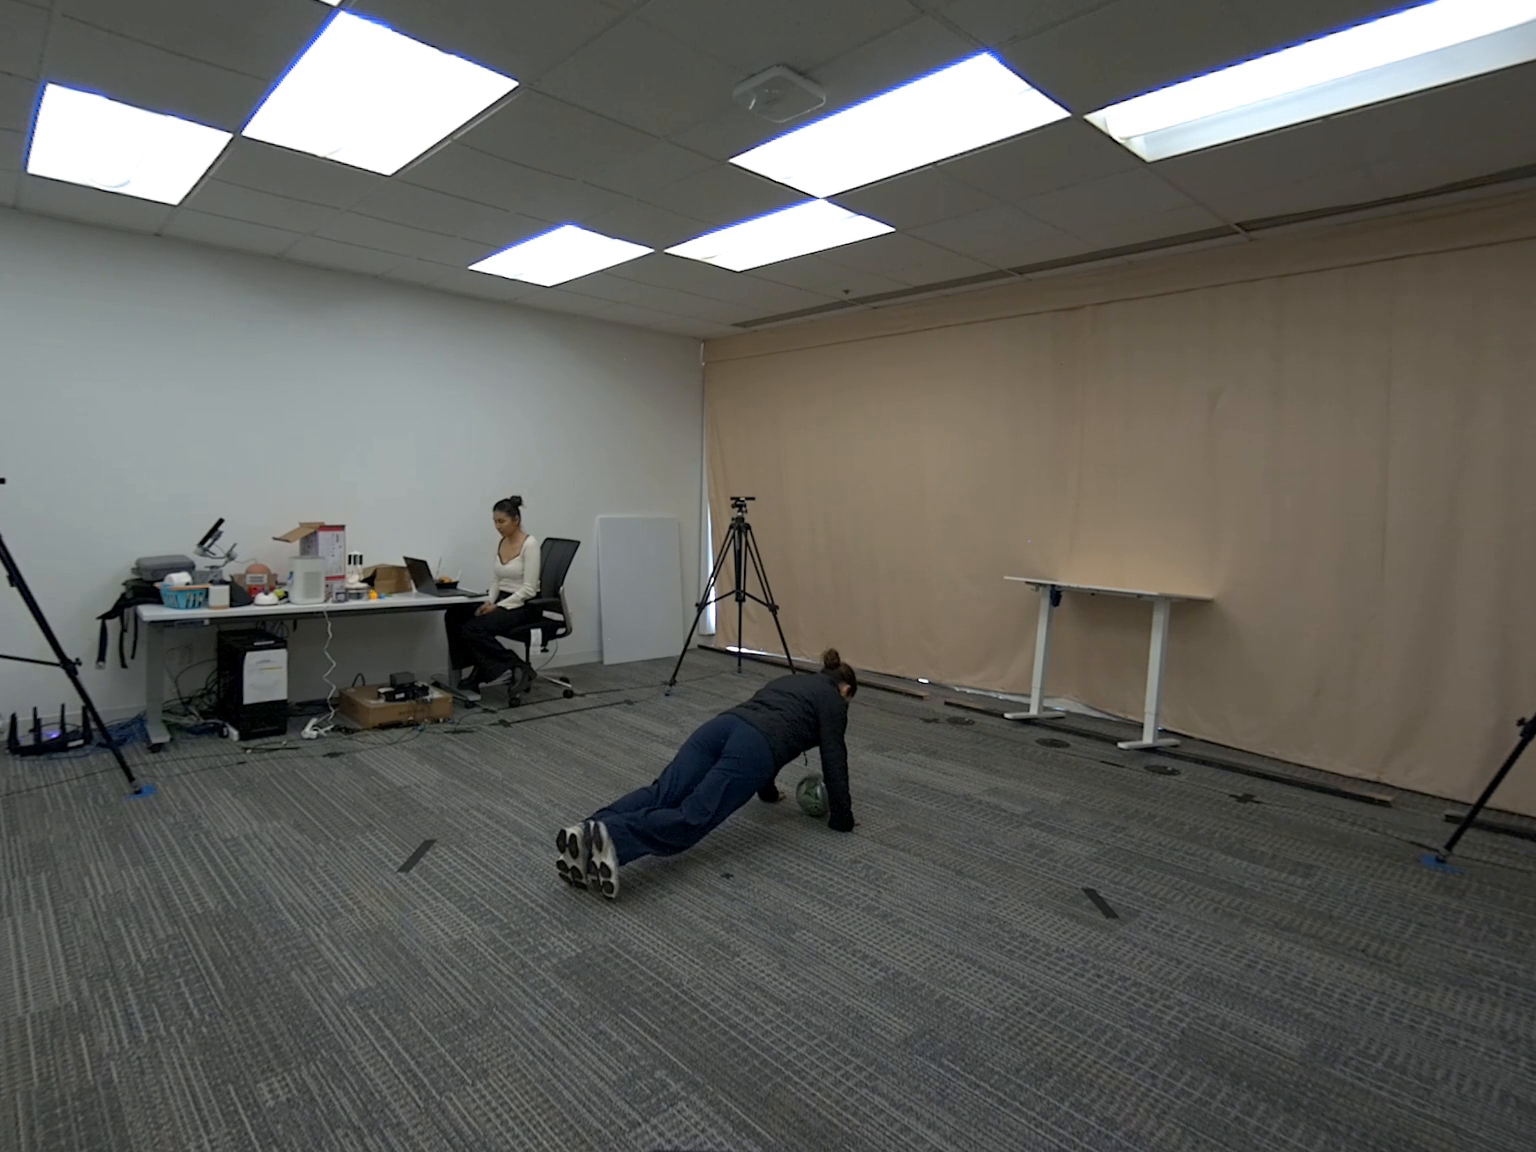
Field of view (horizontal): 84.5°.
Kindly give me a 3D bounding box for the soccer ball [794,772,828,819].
[{"bbox_3d":[0.206,0.973,3.743,0.187,0.187,0.188,1,4,-1],"label":"soccer ball"}]
